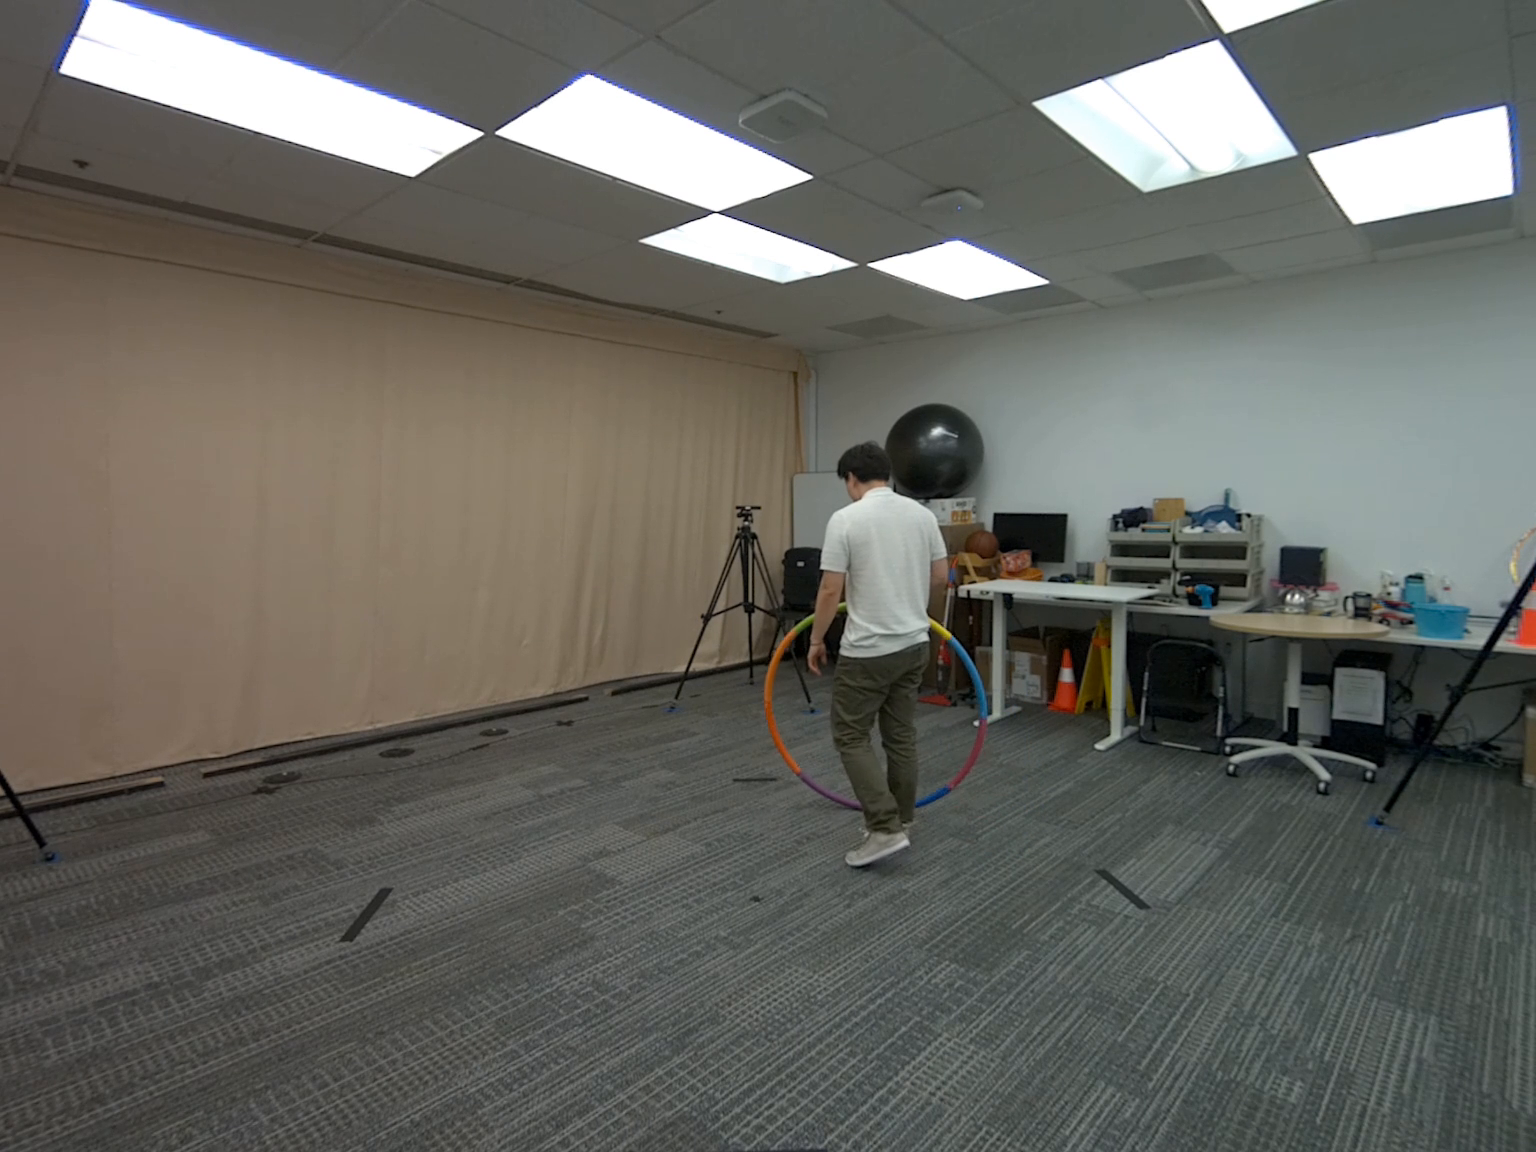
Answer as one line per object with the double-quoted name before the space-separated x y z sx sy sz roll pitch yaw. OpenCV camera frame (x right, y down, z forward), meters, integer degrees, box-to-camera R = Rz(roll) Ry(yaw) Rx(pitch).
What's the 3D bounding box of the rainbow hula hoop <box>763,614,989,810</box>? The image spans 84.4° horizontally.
"rainbow hula hoop" 0.459 0.595 3.775 0.998 0.973 0.035 1 8 19
